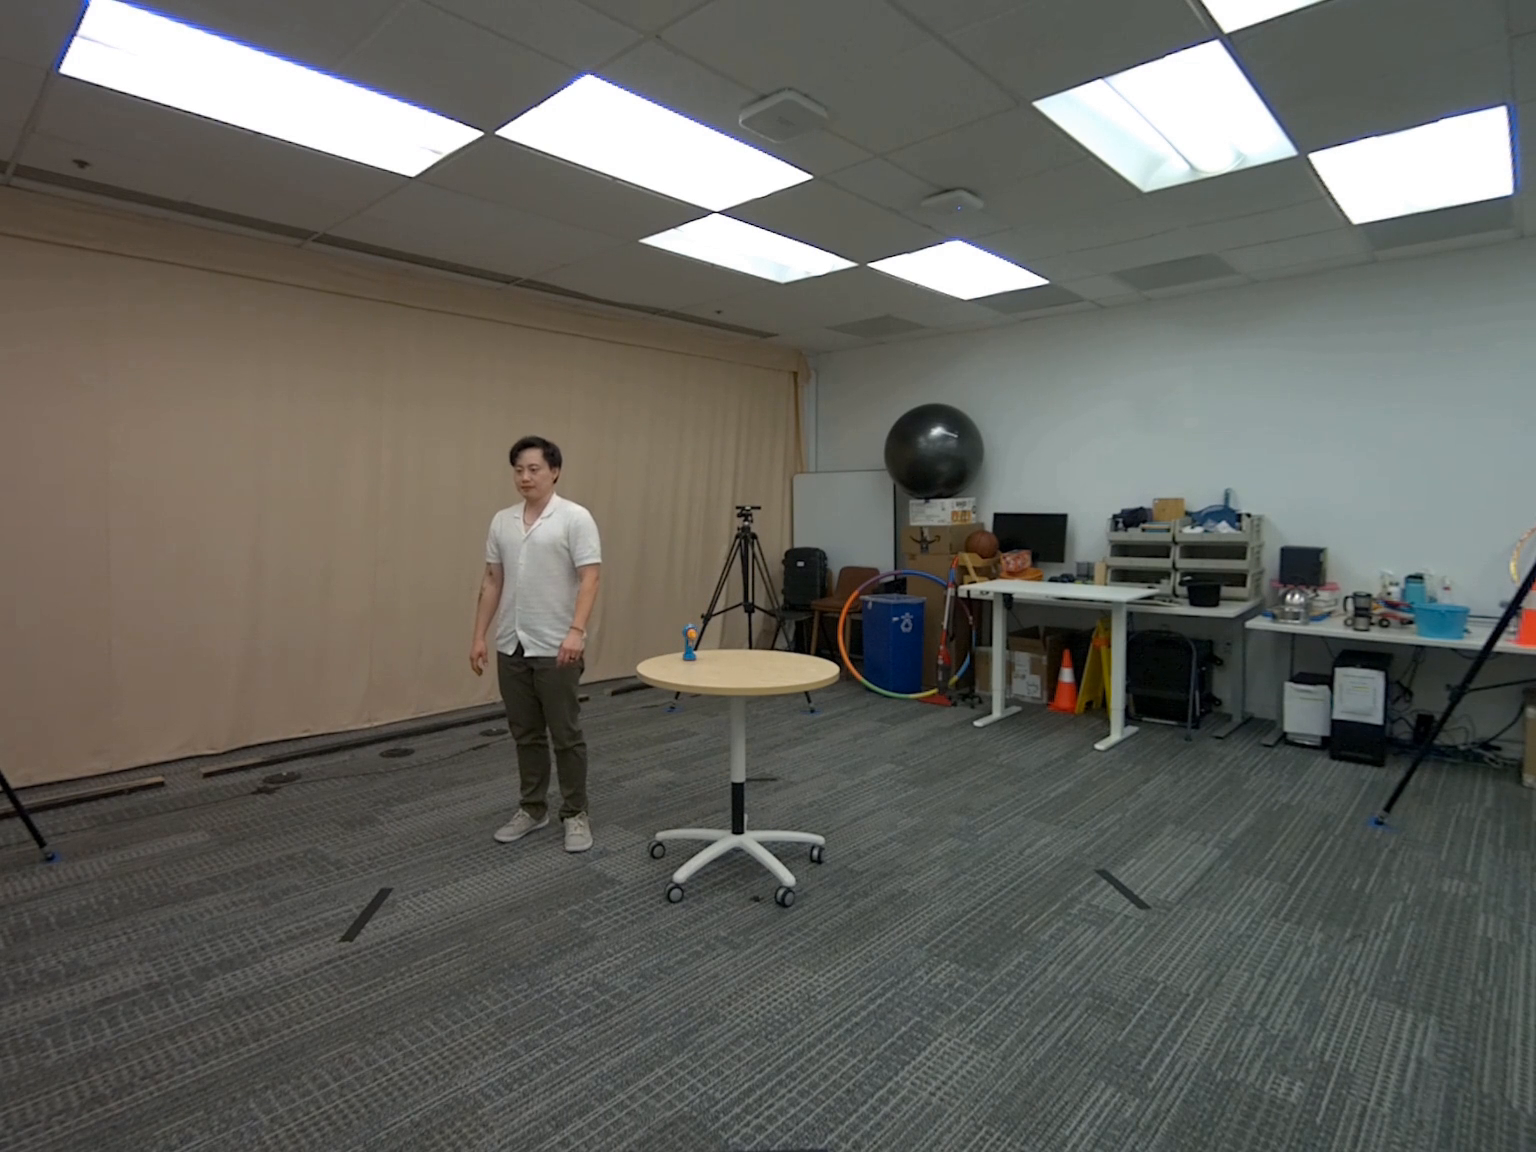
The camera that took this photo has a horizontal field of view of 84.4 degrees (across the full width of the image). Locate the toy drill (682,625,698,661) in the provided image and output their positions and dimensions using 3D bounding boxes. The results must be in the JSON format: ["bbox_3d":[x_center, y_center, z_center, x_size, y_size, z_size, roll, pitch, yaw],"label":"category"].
[{"bbox_3d":[-0.304,0.262,3.306,0.060,0.146,0.172,-1,2,-12],"label":"toy drill"}]
